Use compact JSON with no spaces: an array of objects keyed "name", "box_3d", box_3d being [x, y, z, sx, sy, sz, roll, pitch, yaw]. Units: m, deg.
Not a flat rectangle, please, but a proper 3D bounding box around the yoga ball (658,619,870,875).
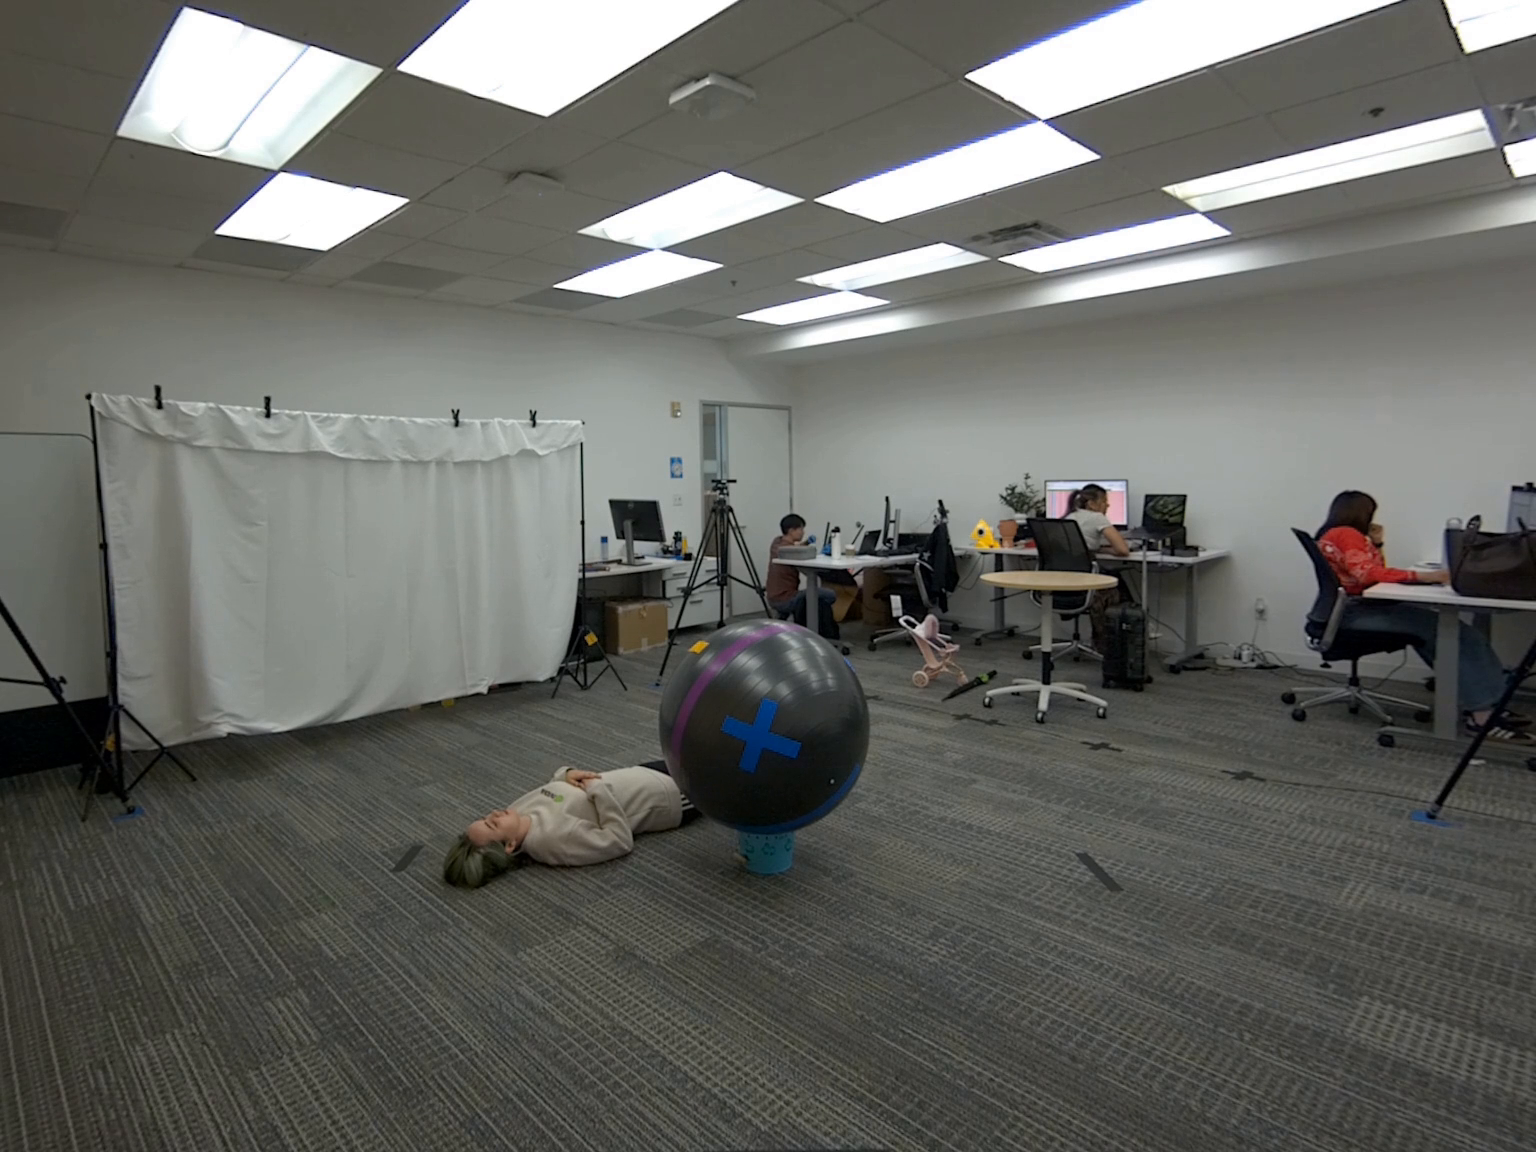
[{"name":"yoga ball","box_3d":[-0.015,0.536,3.089,0.757,0.755,0.762,-1,5,-2]}]
